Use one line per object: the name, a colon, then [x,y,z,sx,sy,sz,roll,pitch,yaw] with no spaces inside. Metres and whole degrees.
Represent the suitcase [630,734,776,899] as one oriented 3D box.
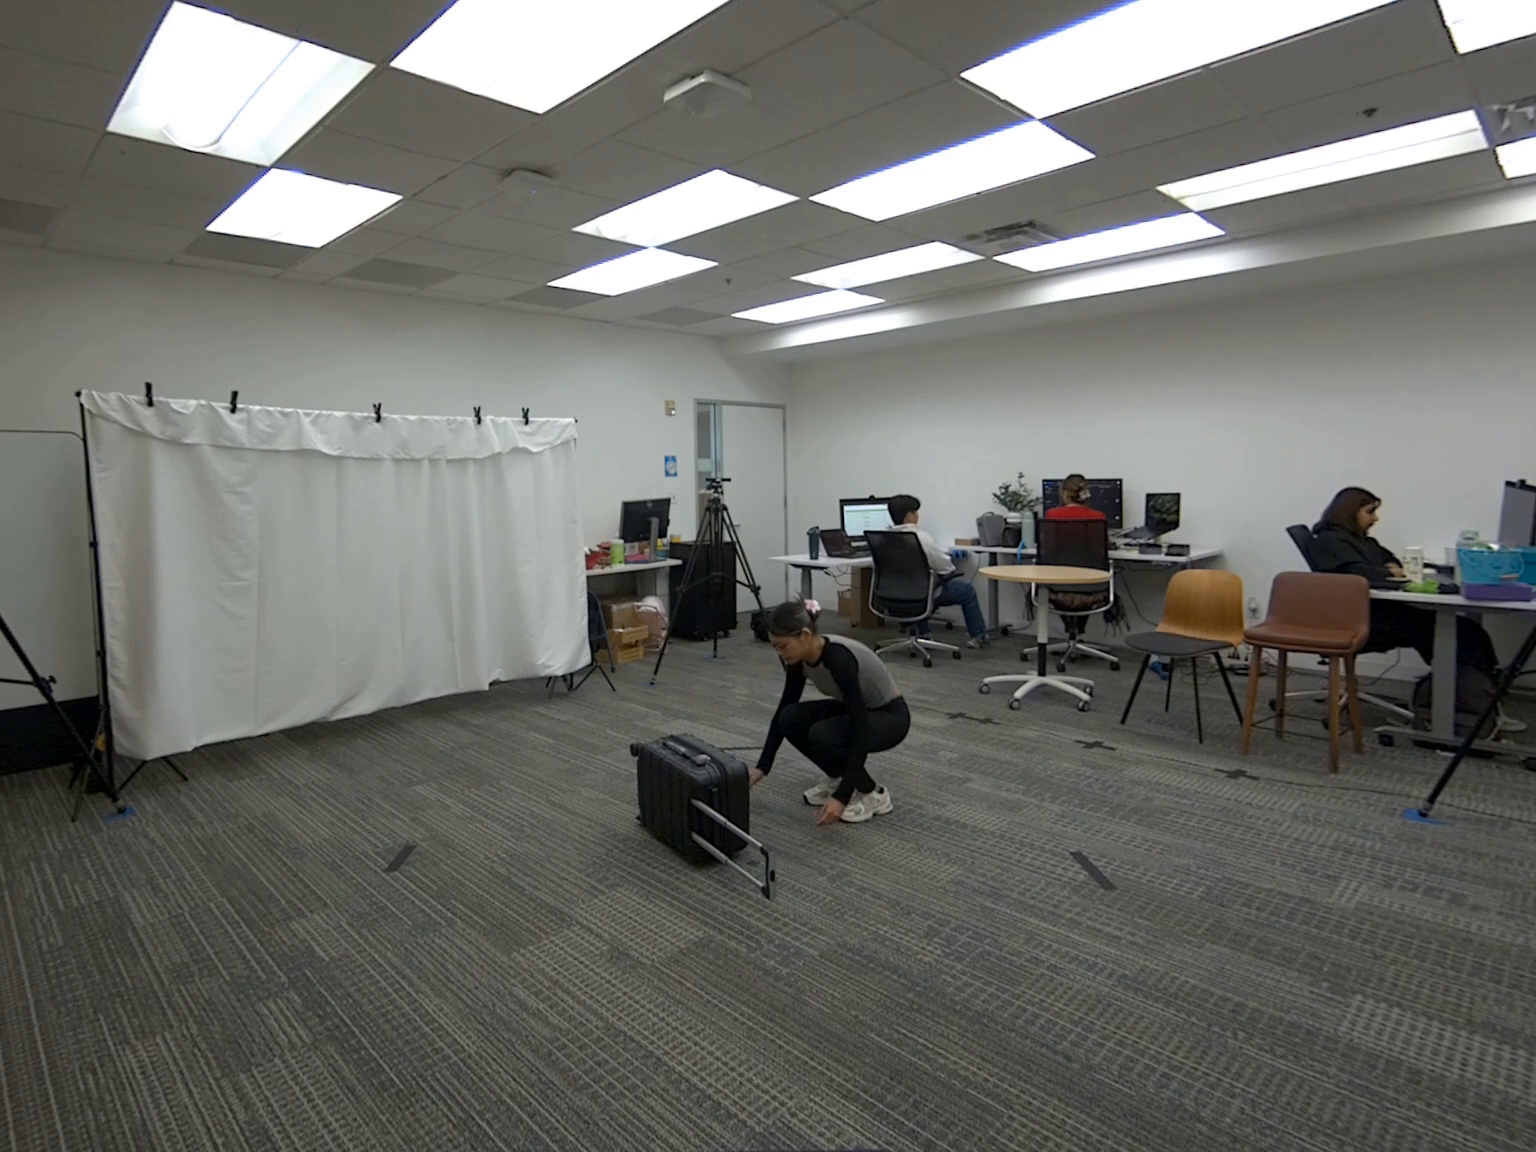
suitcase: [-0.175,0.855,3.107,0.251,0.382,1.007,-4,7,-33]
